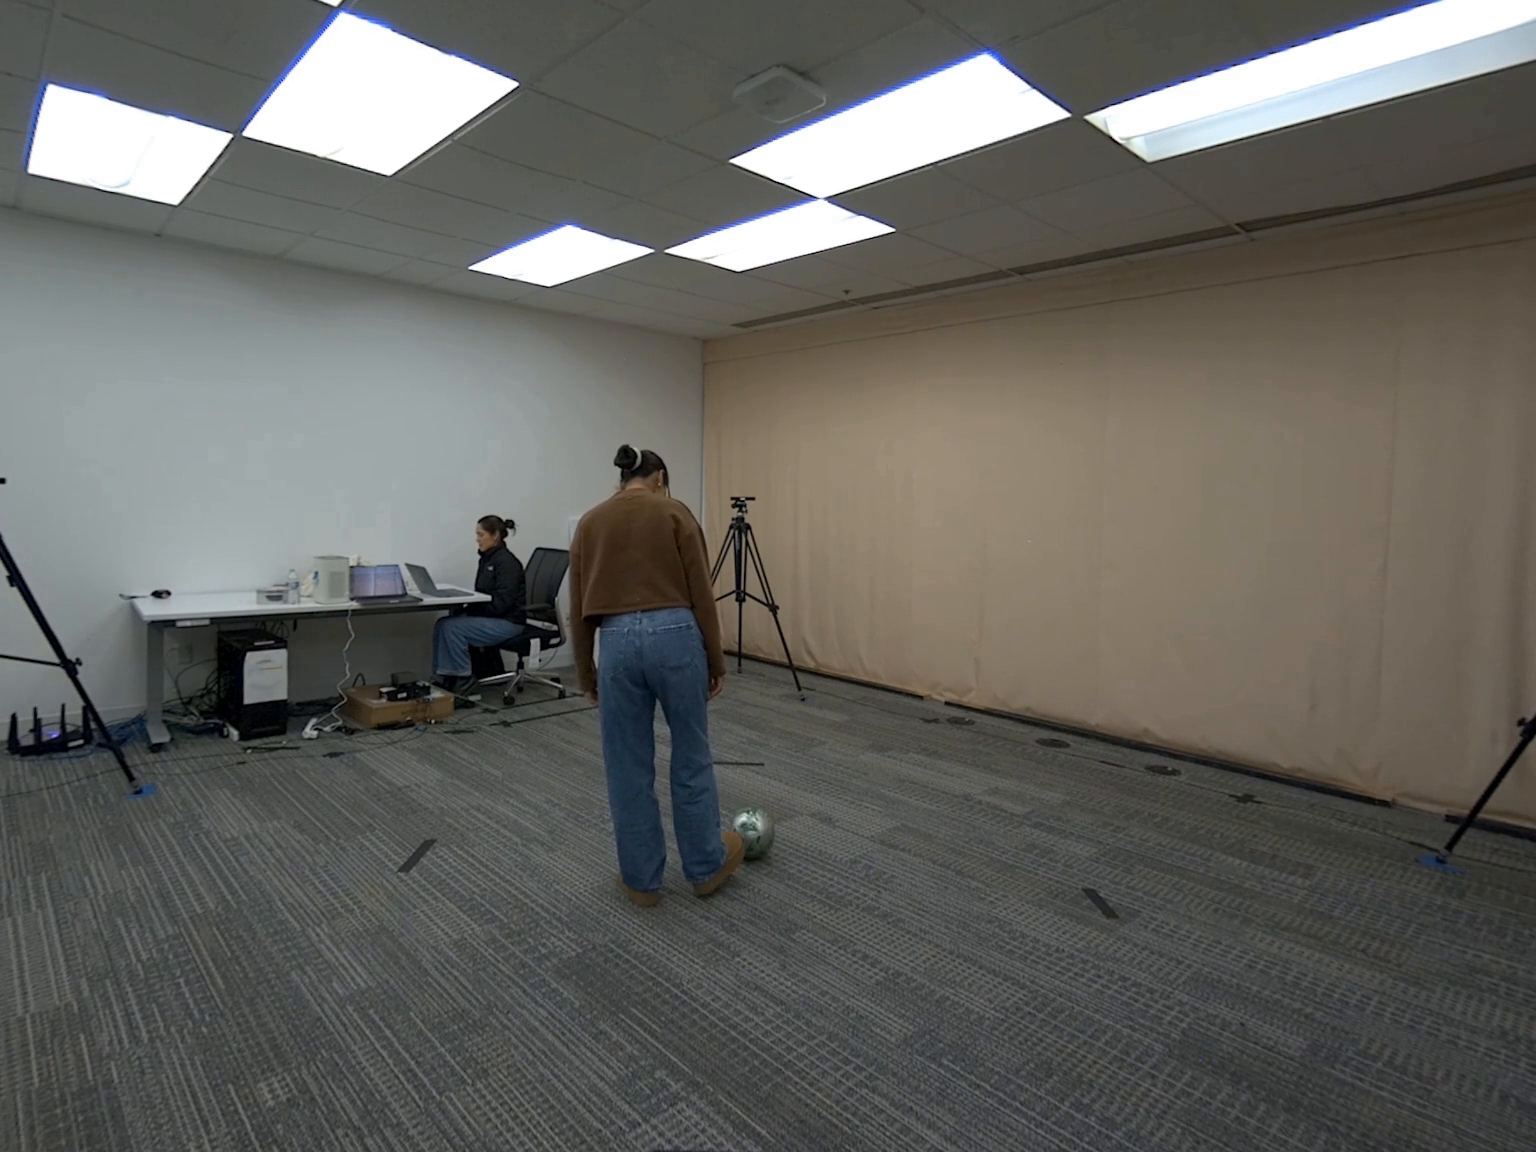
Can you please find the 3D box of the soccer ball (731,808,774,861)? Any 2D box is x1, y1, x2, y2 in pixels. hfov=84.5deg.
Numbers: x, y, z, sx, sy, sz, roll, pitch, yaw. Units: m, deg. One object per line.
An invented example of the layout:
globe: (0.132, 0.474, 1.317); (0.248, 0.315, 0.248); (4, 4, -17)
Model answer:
soccer ball: (-0.072, 1.000, 3.270); (0.187, 0.187, 0.188); (1, 4, -1)
